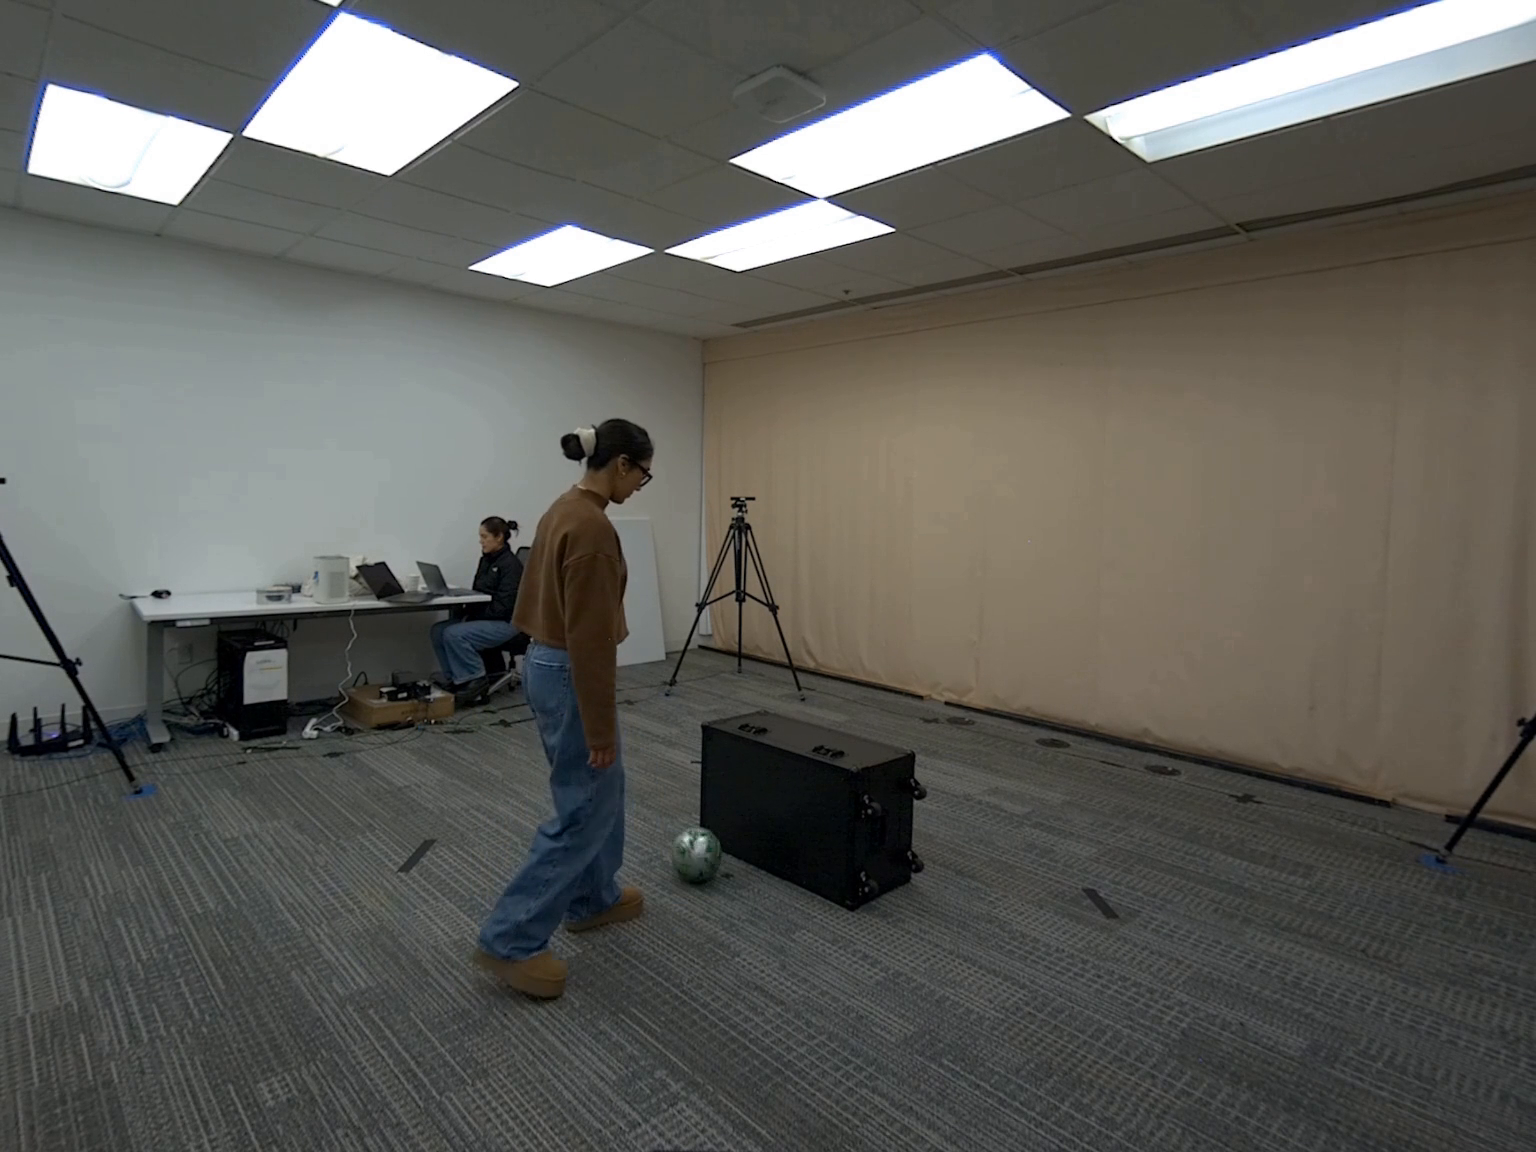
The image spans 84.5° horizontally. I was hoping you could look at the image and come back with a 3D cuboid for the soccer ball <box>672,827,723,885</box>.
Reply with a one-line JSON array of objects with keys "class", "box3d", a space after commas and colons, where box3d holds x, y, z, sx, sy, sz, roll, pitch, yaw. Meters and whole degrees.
[{"class": "soccer ball", "box3d": [-0.263, 1.006, 3.067, 0.187, 0.187, 0.188, 1, 4, -1]}]
